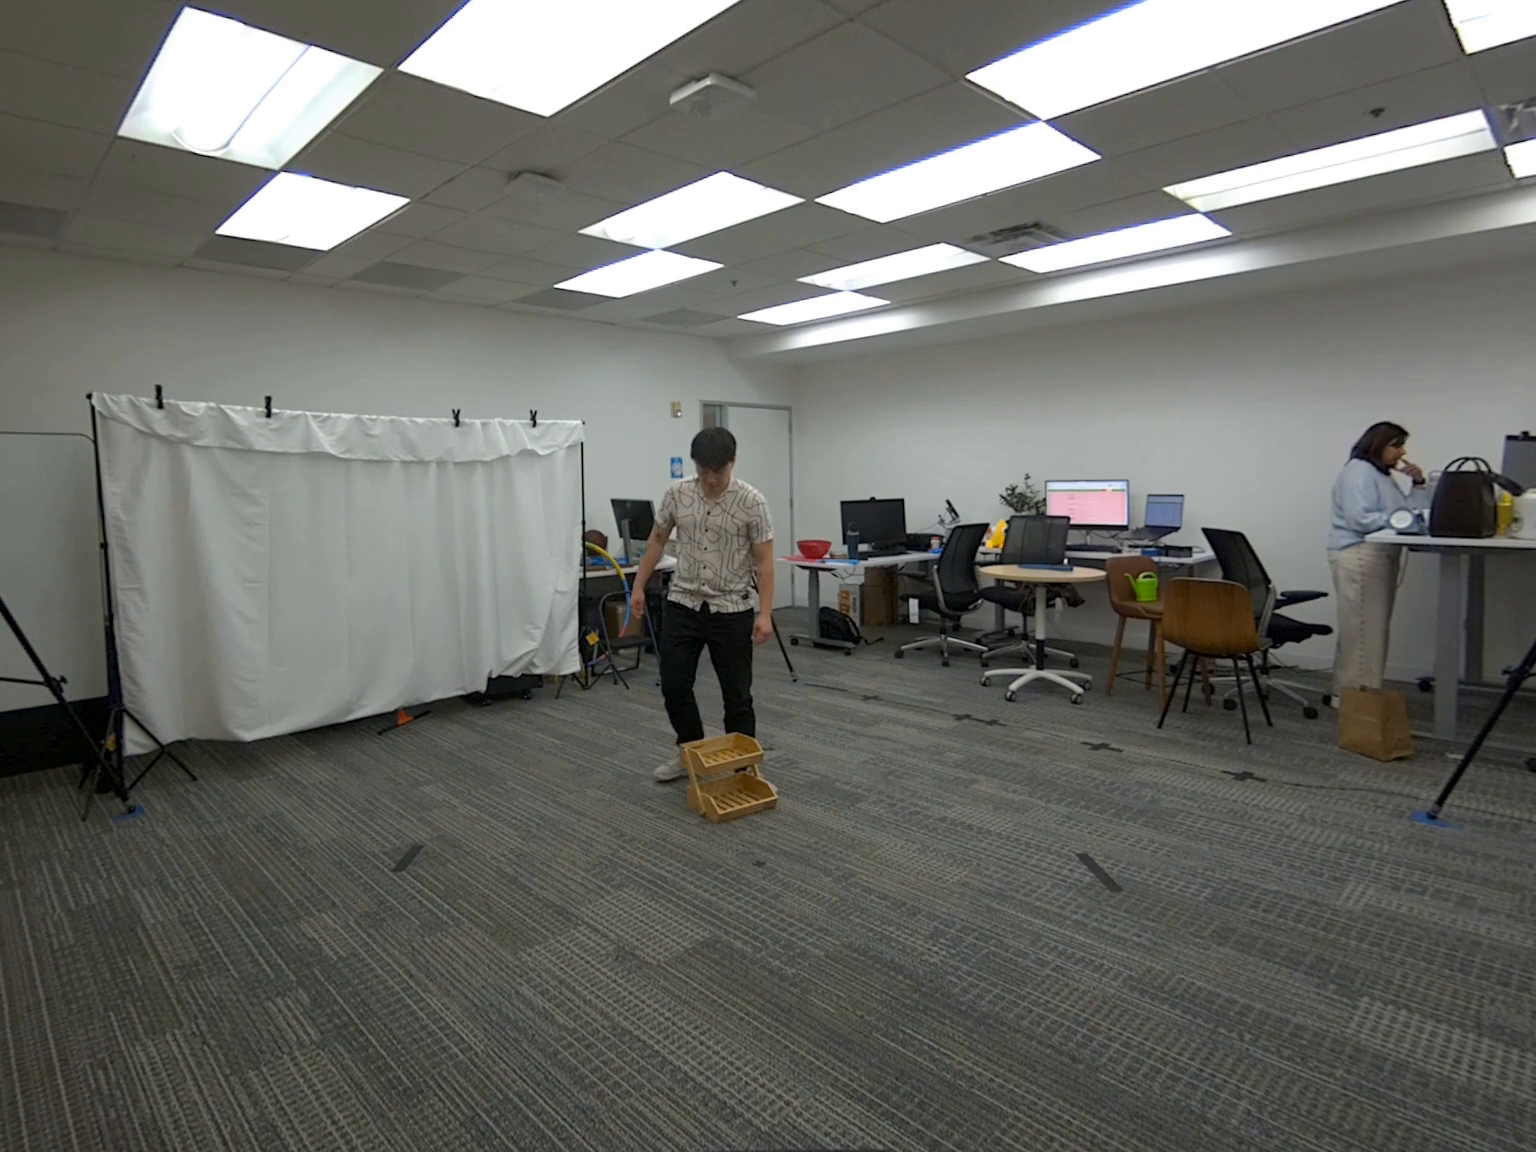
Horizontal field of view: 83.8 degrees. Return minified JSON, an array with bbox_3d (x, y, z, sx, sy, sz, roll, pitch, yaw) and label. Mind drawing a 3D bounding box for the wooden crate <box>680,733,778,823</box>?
[{"bbox_3d":[-0.171,0.856,3.663,0.316,0.272,0.311,-5,5,-35],"label":"wooden crate"}]
